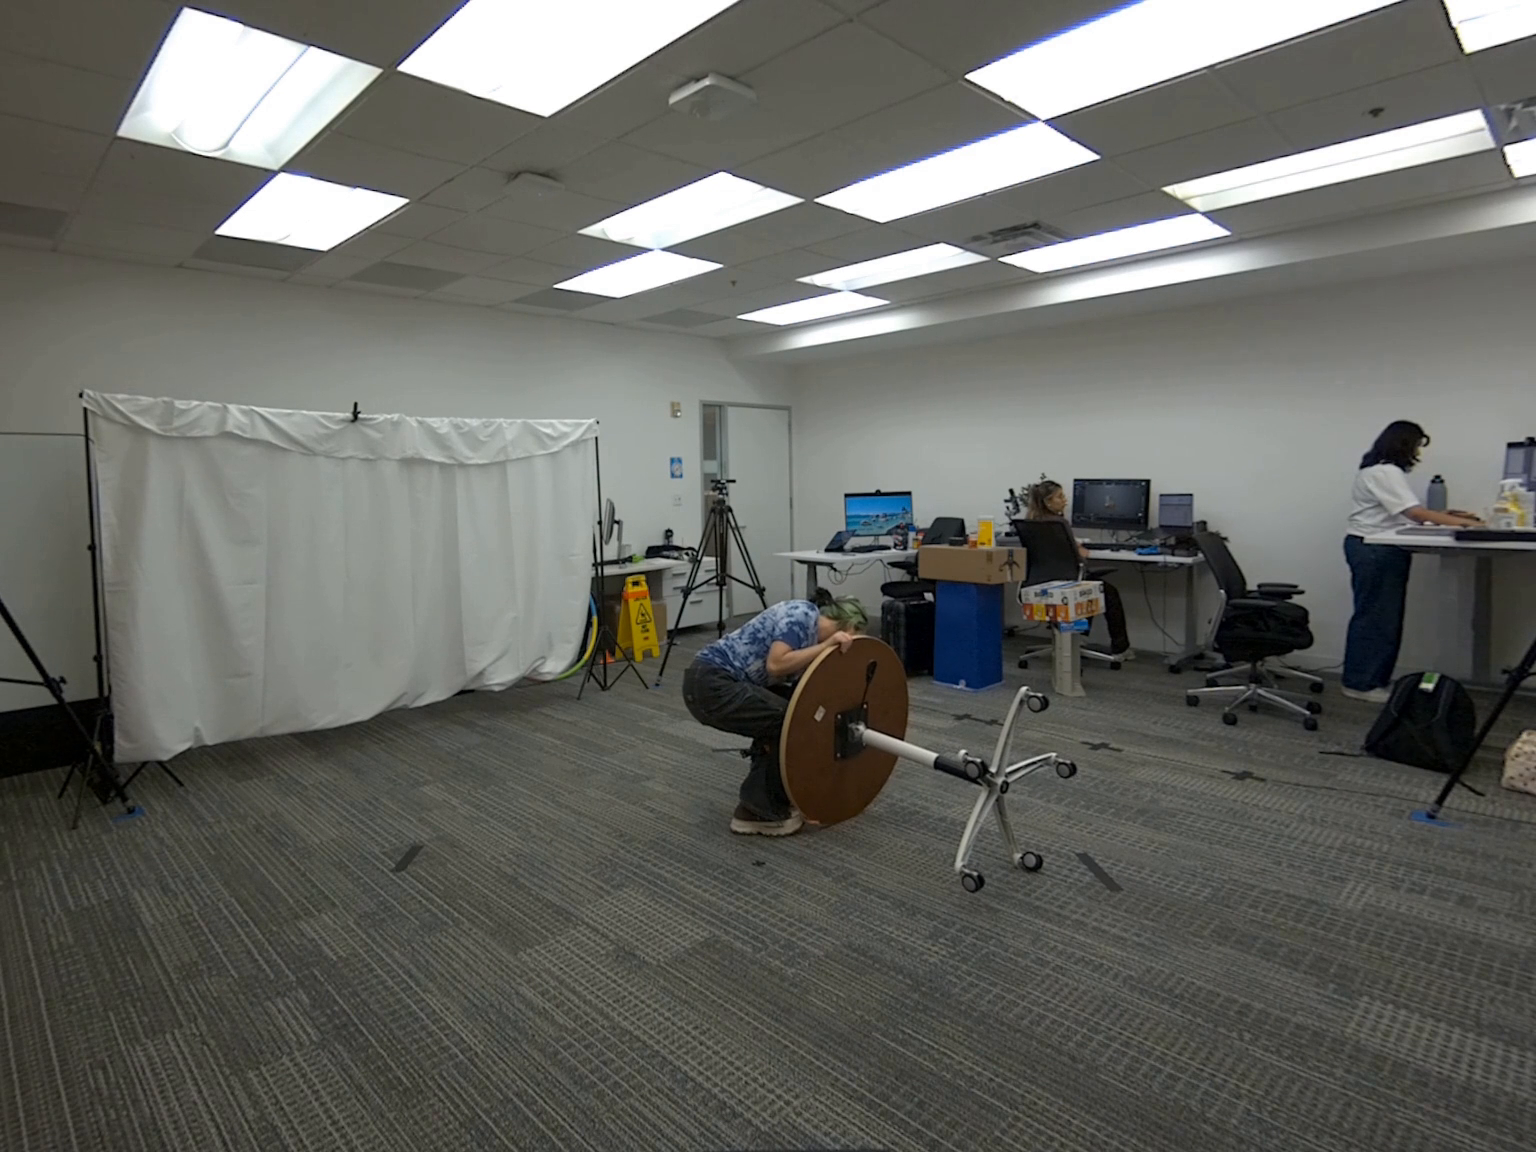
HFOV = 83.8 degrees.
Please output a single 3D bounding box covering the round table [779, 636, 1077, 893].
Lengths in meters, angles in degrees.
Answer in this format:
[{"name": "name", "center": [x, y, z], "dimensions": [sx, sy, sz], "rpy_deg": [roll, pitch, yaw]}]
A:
[{"name": "round table", "center": [0.596, 0.680, 3.162], "dimensions": [0.744, 0.759, 0.821], "rpy_deg": [-5, 11, -43]}]
